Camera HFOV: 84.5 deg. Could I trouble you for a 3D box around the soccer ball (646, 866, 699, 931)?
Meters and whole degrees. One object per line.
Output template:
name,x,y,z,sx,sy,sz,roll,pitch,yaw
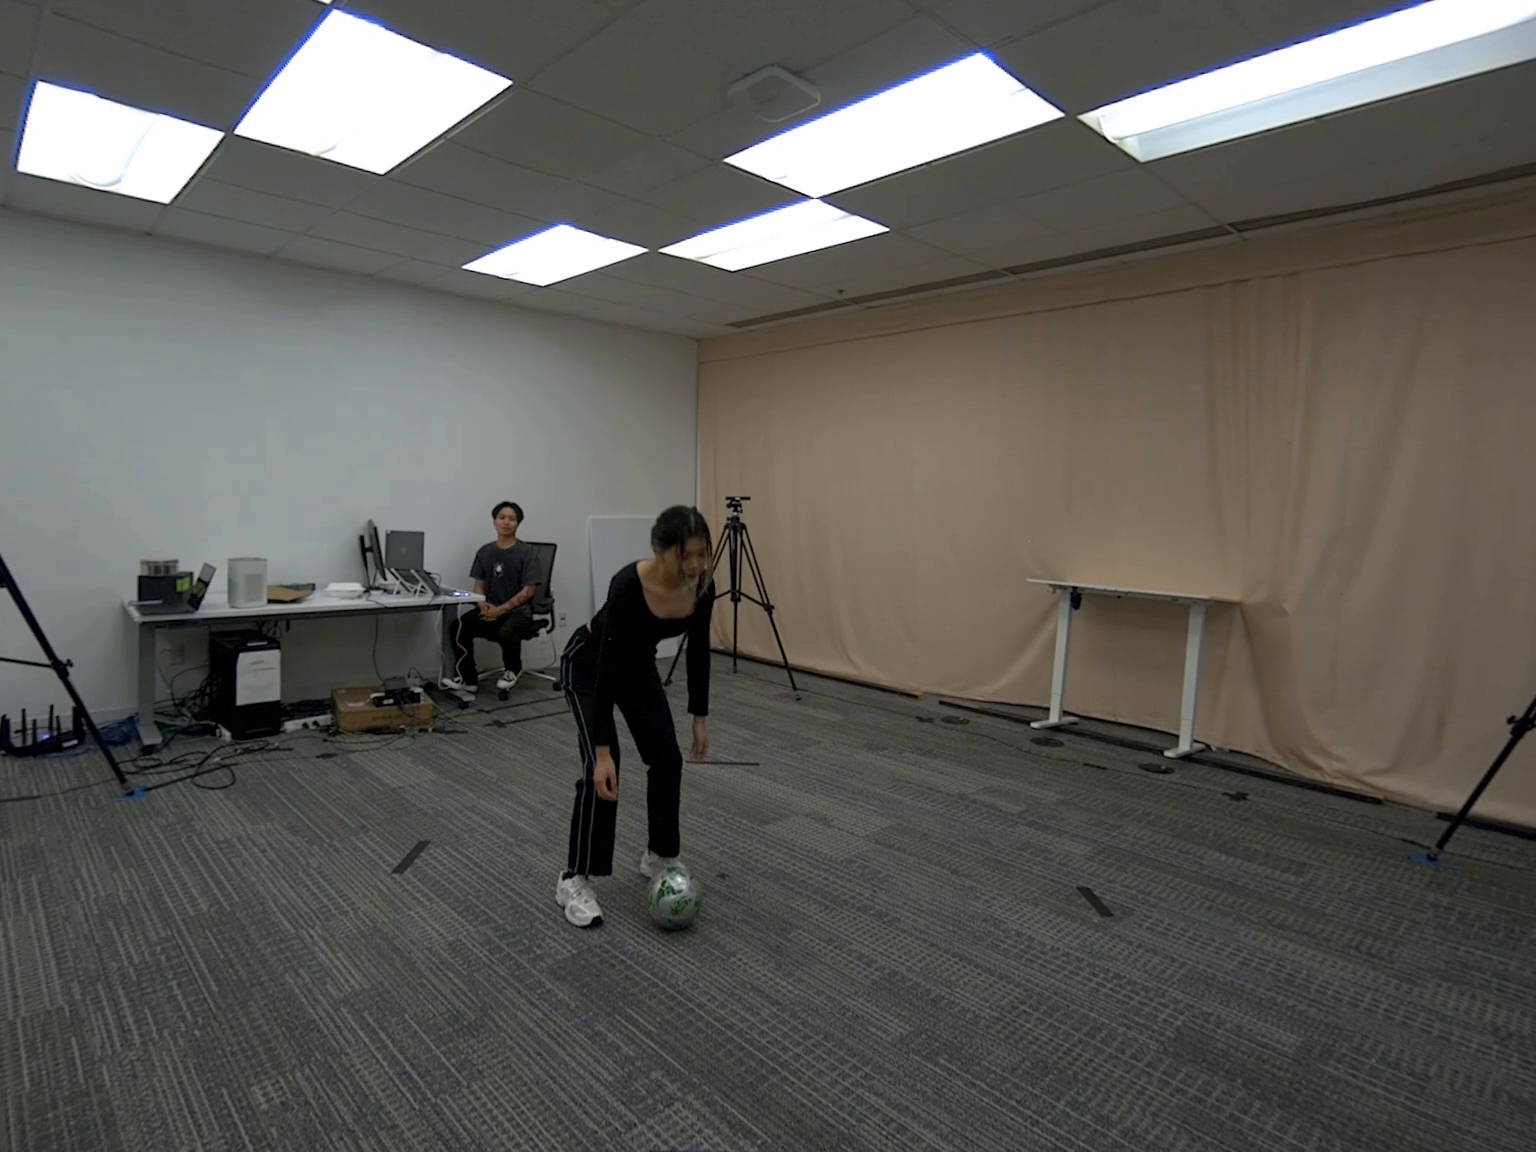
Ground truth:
soccer ball,-0.311,1.042,2.723,0.187,0.187,0.188,1,4,-1
